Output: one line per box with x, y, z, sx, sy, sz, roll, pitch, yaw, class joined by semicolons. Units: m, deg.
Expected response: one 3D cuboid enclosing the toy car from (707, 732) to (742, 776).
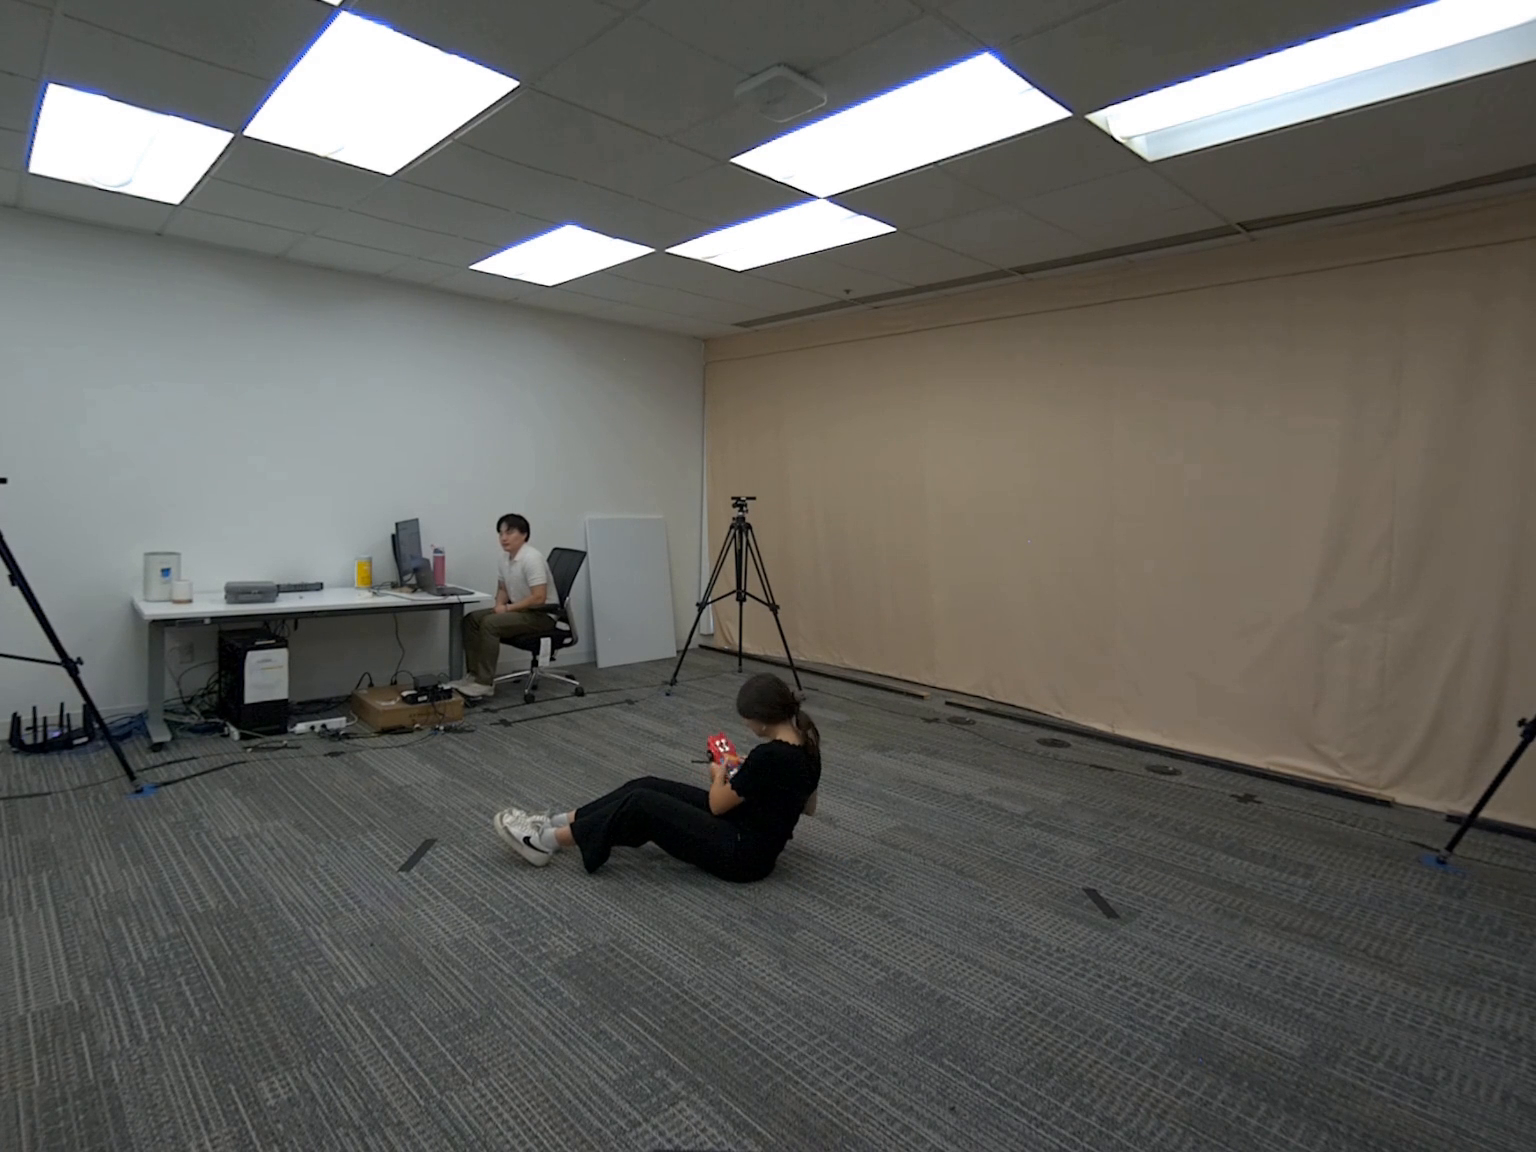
-0.171;0.775;3.473;0.128;0.260;0.083;-8;-29;-31;toy car
